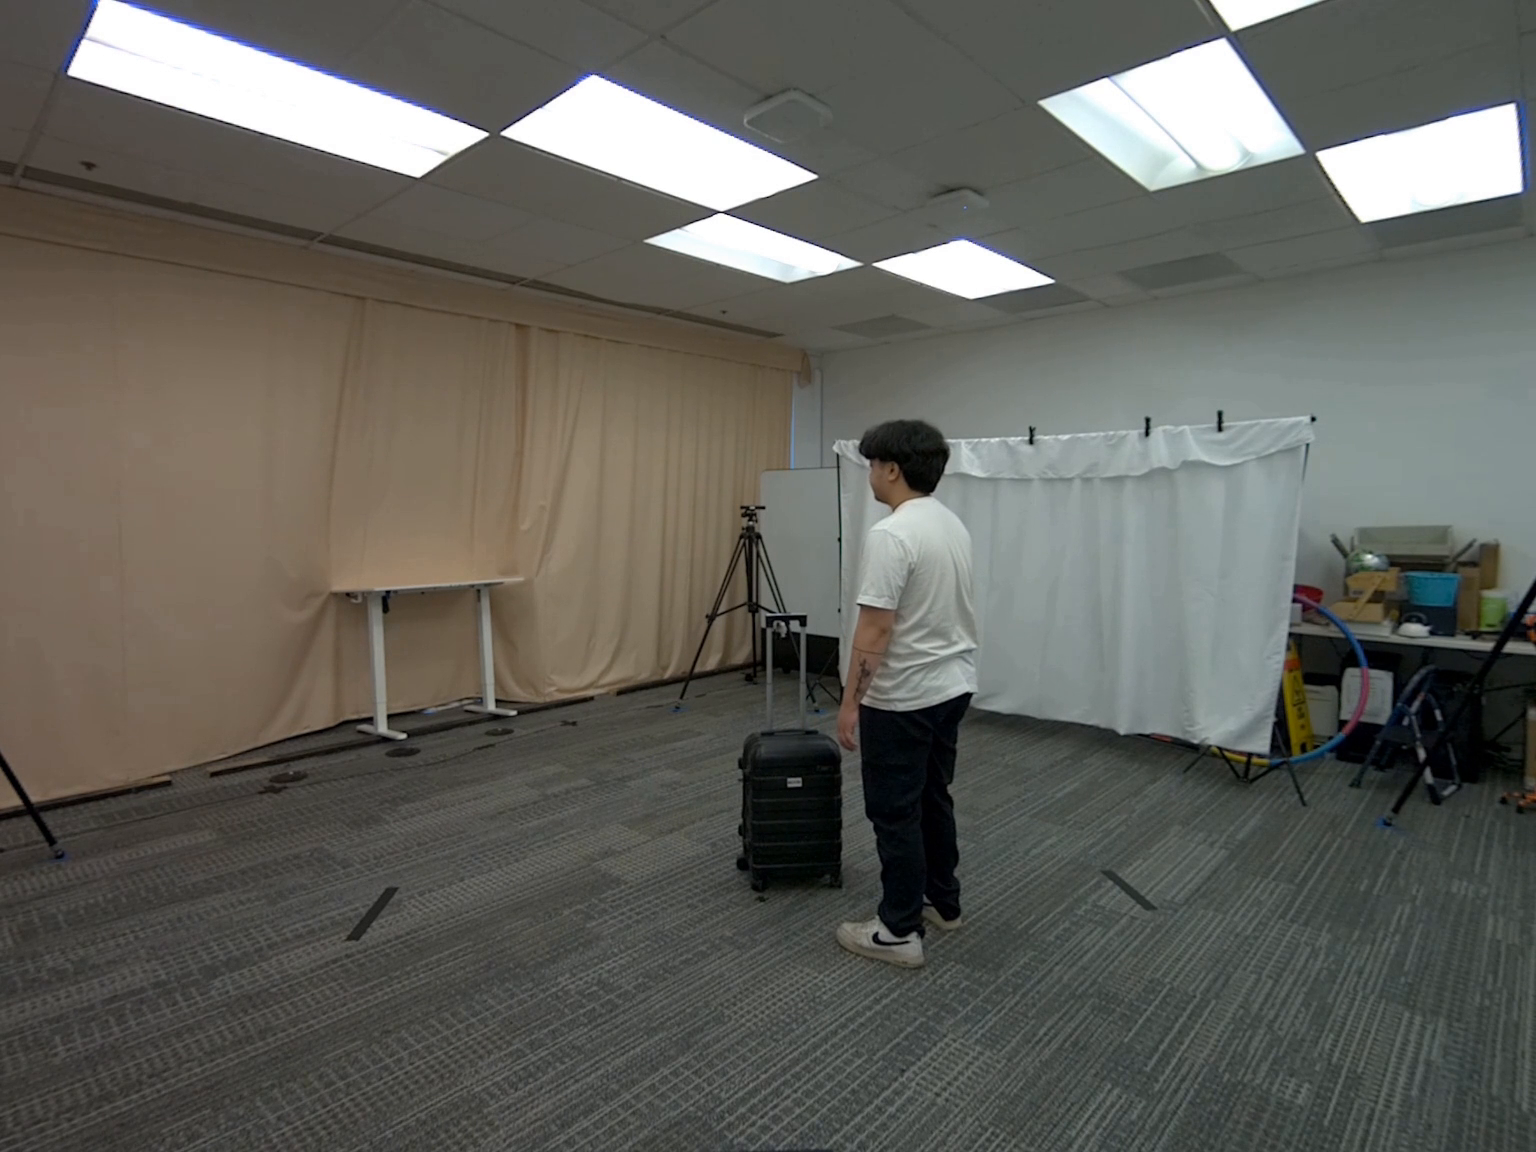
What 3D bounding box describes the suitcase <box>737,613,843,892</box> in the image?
[{"bbox_3d":[0.091,0.656,3.110,0.381,0.975,0.260,-1,6,-7],"label":"suitcase"}]
